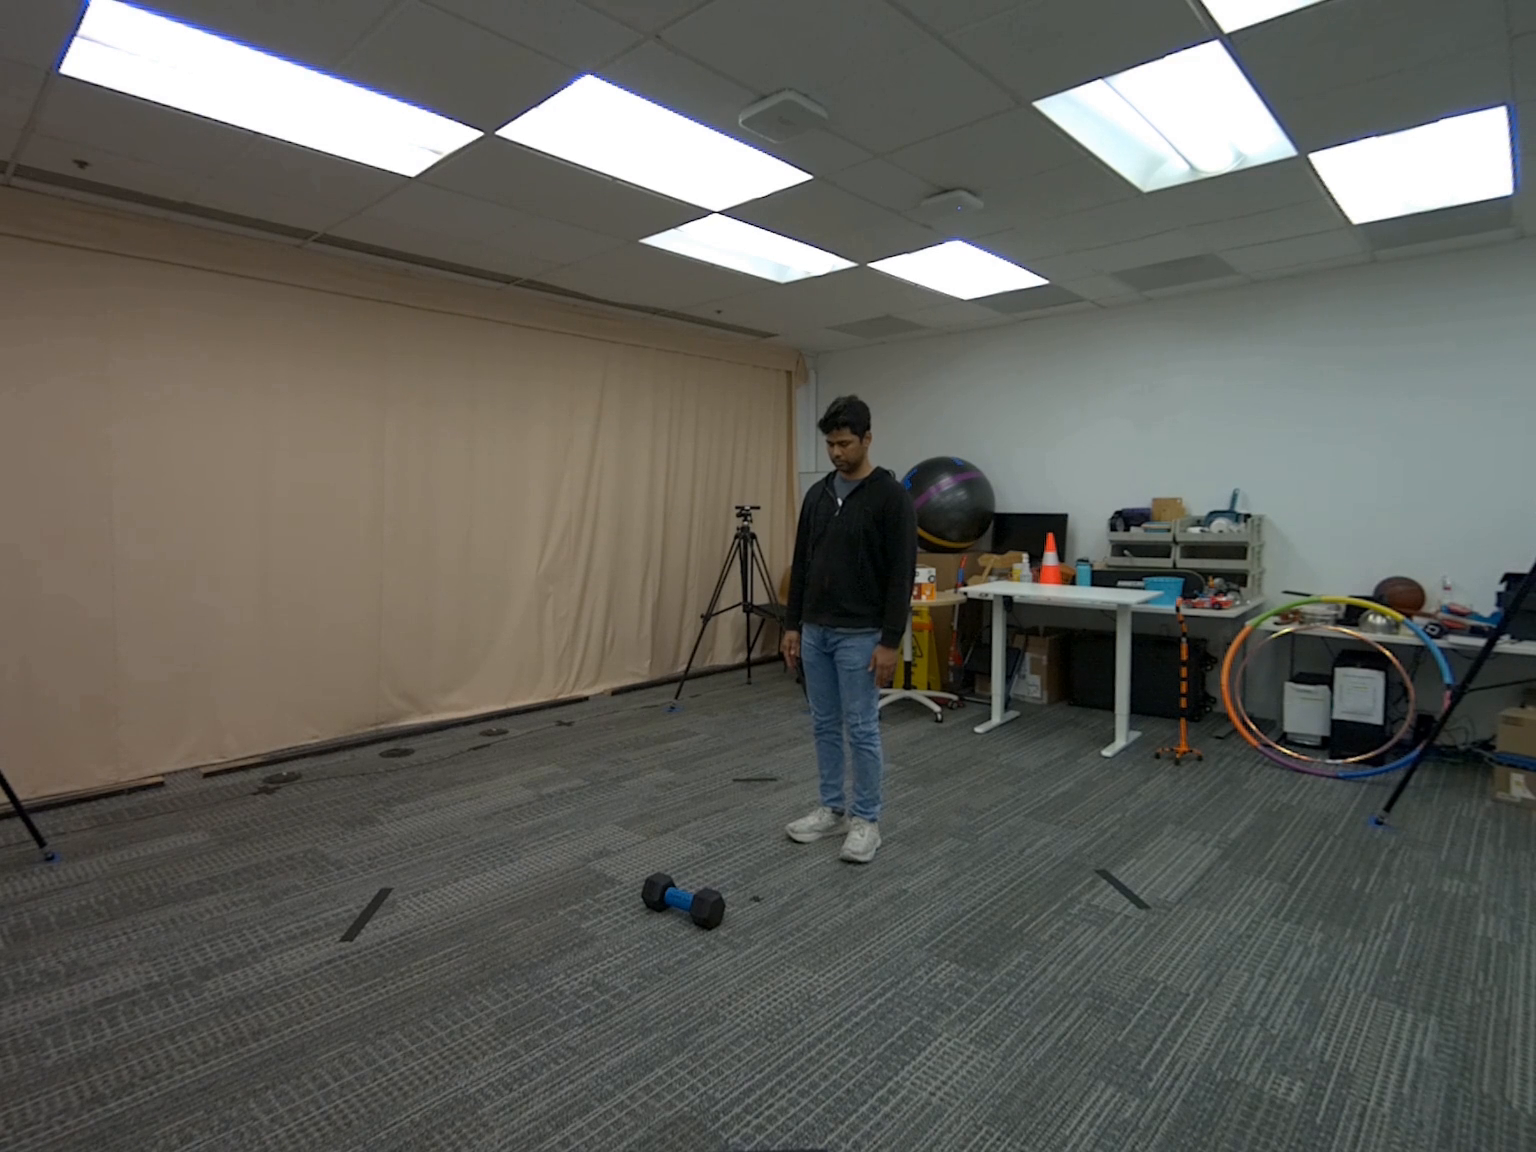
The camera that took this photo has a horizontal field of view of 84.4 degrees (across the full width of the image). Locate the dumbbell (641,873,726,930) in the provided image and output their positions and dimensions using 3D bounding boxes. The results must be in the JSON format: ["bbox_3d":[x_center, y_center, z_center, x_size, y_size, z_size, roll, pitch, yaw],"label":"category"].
[{"bbox_3d":[-0.284,1.101,2.855,0.303,0.123,0.105,3,-26,35],"label":"dumbbell"}]
